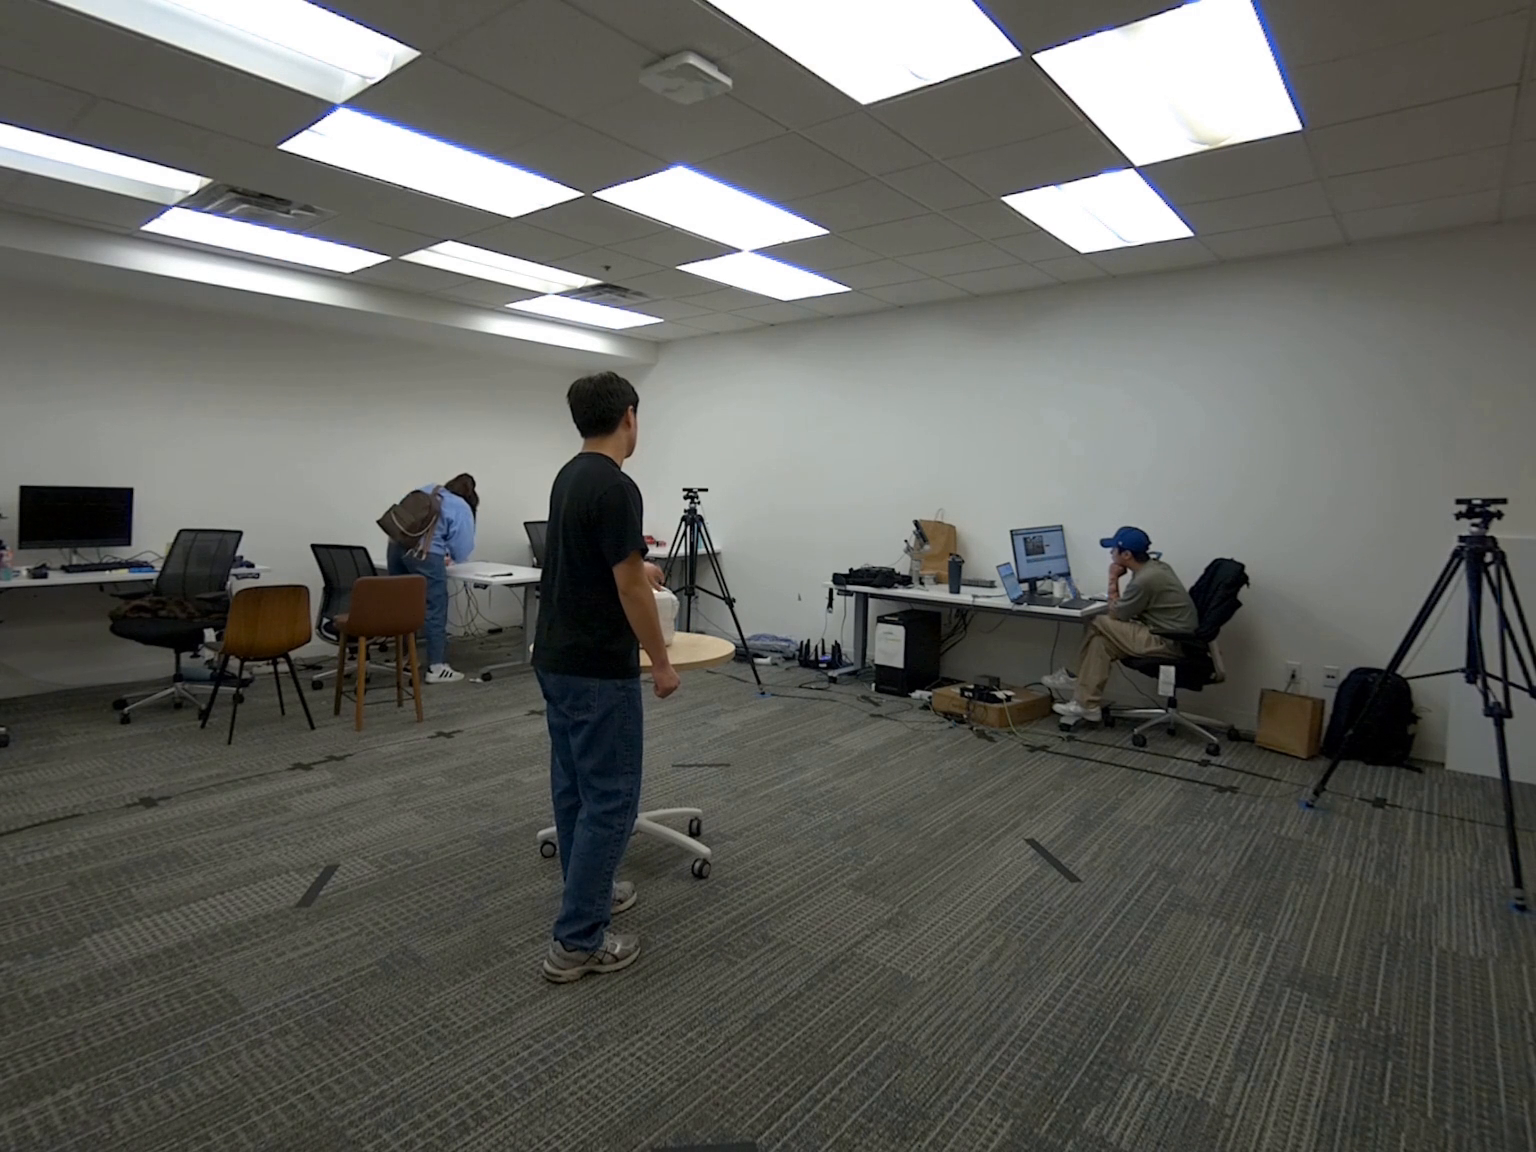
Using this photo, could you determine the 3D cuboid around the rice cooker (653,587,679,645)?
[{"bbox_3d":[-0.464,0.142,3.220,0.222,0.232,0.217,1,3,4],"label":"rice cooker"}]
